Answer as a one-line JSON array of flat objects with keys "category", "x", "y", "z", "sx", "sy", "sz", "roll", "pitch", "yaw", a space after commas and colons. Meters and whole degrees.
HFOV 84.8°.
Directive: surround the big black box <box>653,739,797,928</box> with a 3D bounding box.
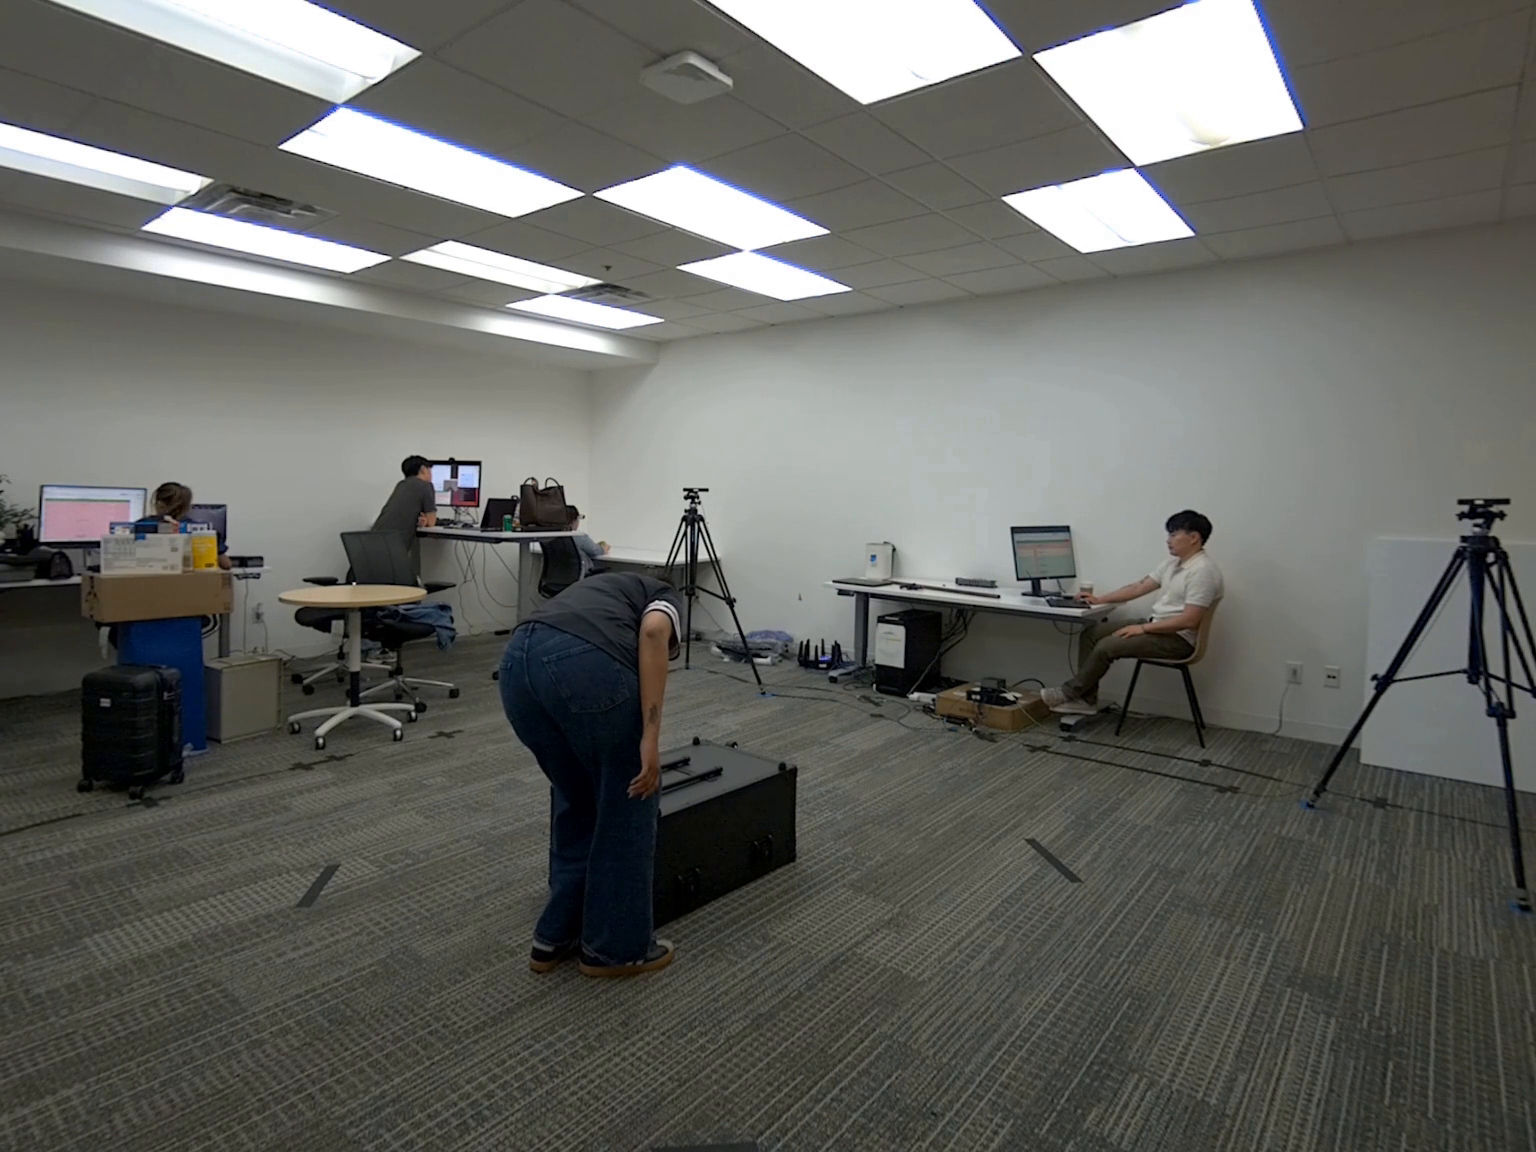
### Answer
[{"category": "big black box", "x": -0.315, "y": 0.885, "z": 3.097, "sx": 0.541, "sy": 0.384, "sz": 0.843, "roll": 3, "pitch": 5, "yaw": 40}]
